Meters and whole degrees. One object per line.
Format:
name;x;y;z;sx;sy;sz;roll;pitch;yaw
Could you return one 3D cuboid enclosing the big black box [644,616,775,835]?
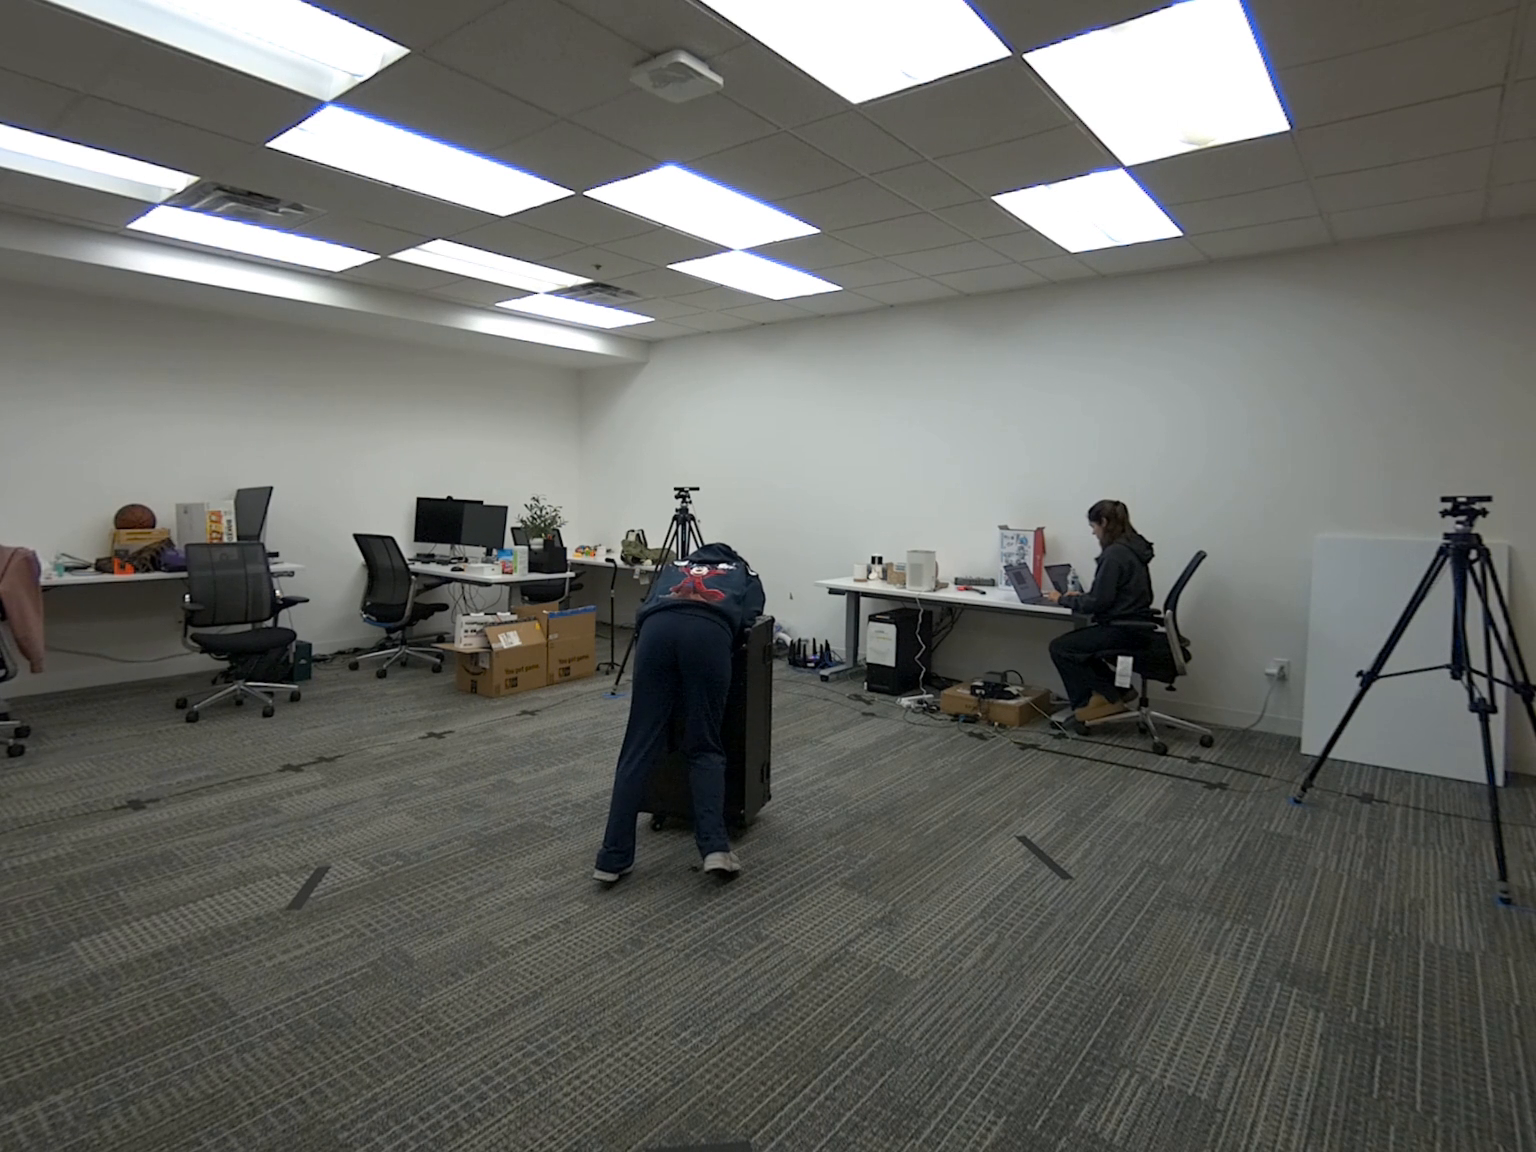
big black box;-0.267;0.602;3.525;0.532;0.859;0.389;3;4;19
